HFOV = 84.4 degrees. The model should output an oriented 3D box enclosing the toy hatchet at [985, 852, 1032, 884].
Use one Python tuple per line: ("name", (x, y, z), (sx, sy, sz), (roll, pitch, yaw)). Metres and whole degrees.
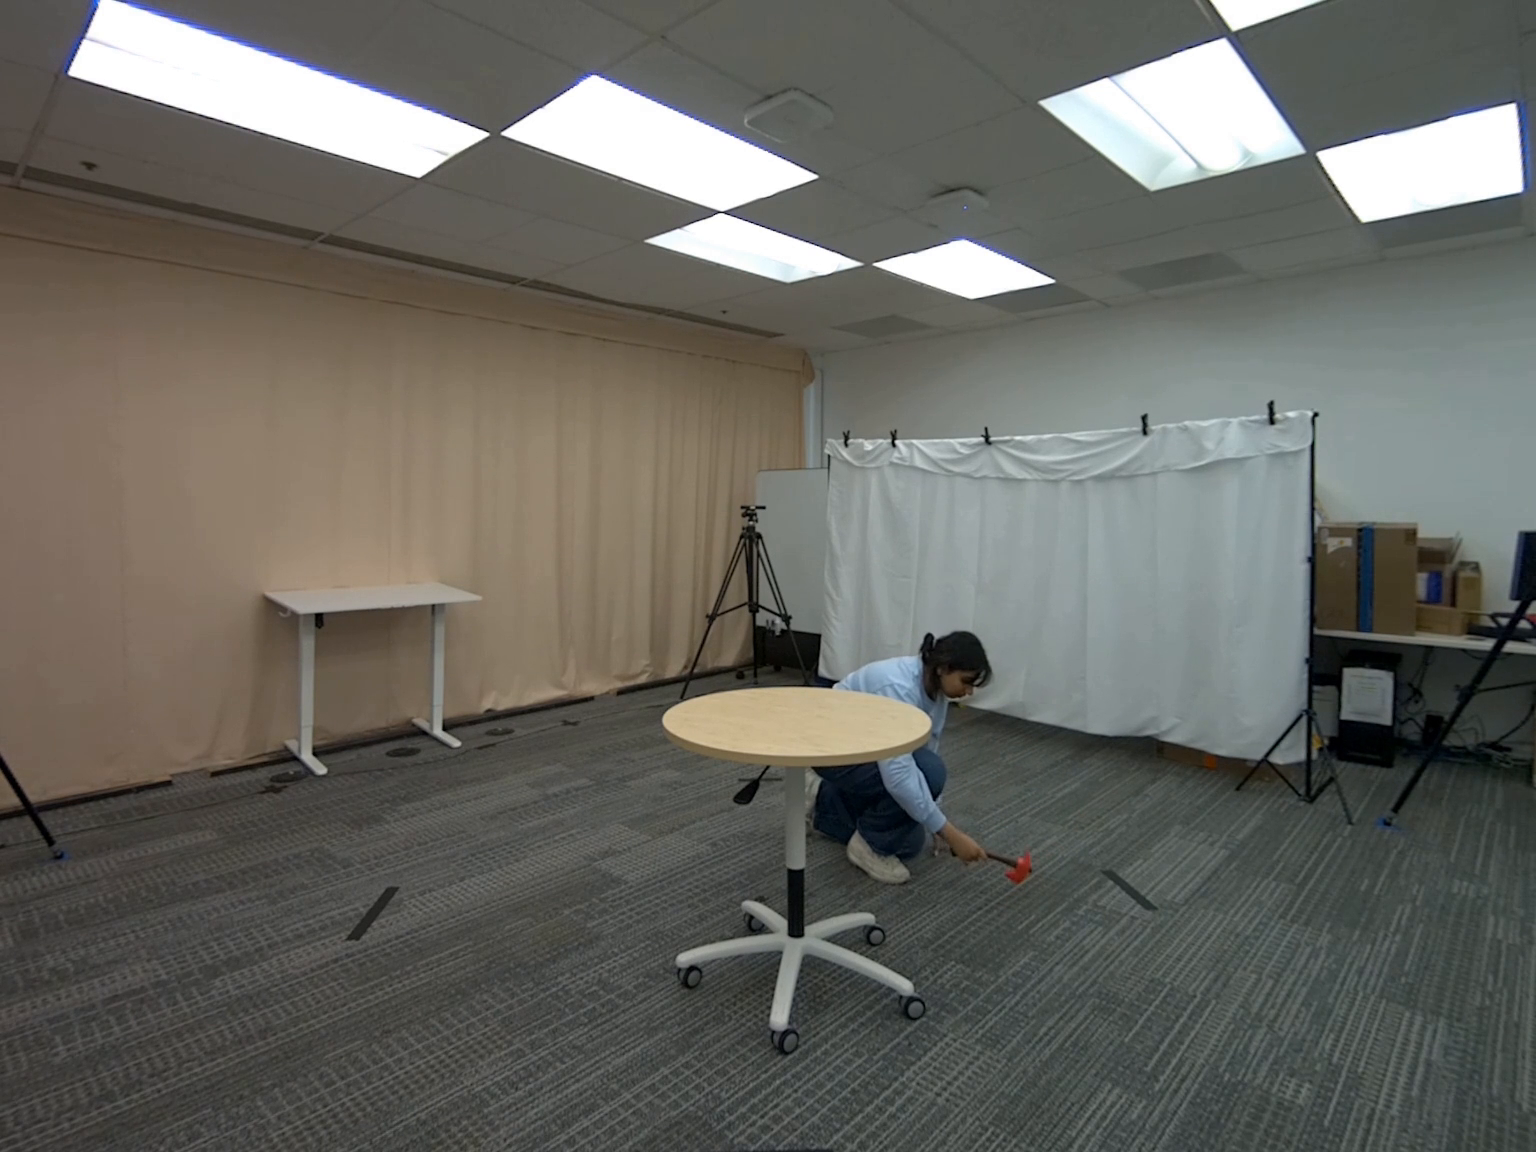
("toy hatchet", (0.796, 1.018, 2.953), (0.276, 0.130, 0.029), (-3, 11, 23))
